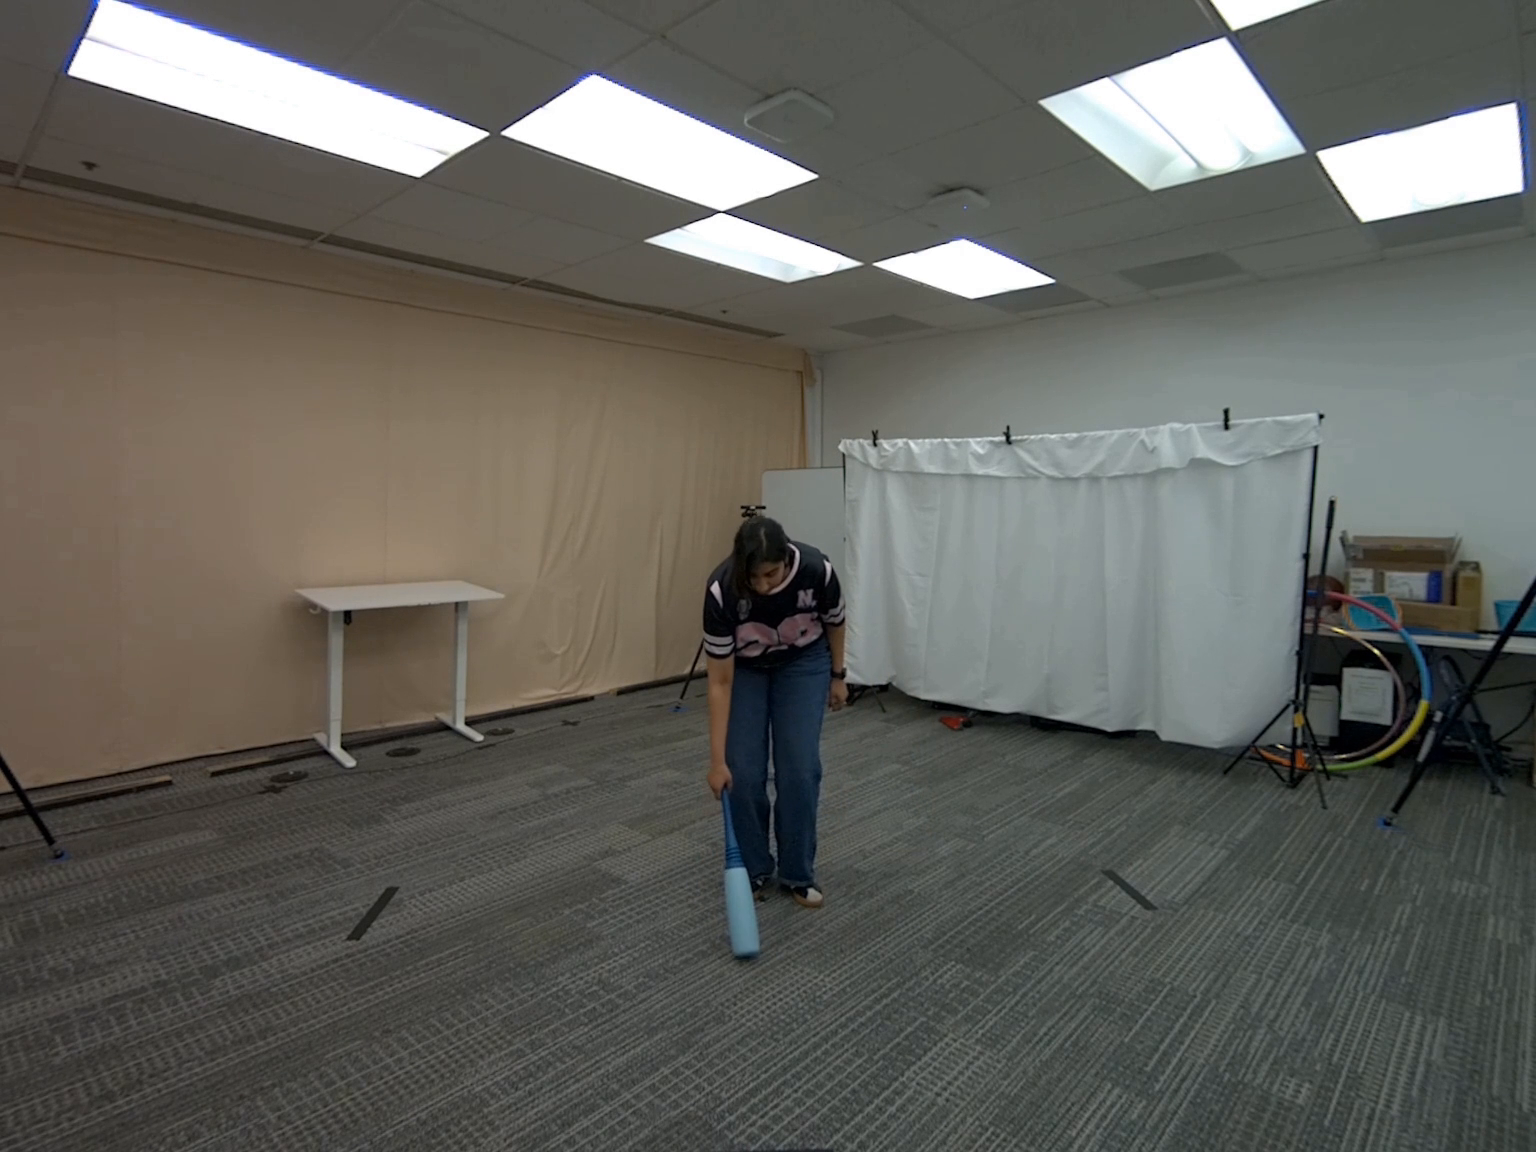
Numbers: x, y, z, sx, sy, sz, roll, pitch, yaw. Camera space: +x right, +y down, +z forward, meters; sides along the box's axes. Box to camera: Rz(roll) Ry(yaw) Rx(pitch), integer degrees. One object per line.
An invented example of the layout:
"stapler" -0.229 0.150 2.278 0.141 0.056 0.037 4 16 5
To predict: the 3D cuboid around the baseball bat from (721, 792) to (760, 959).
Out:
"baseball bat" -0.101 0.918 2.704 0.088 0.554 0.088 -7 -30 -5
